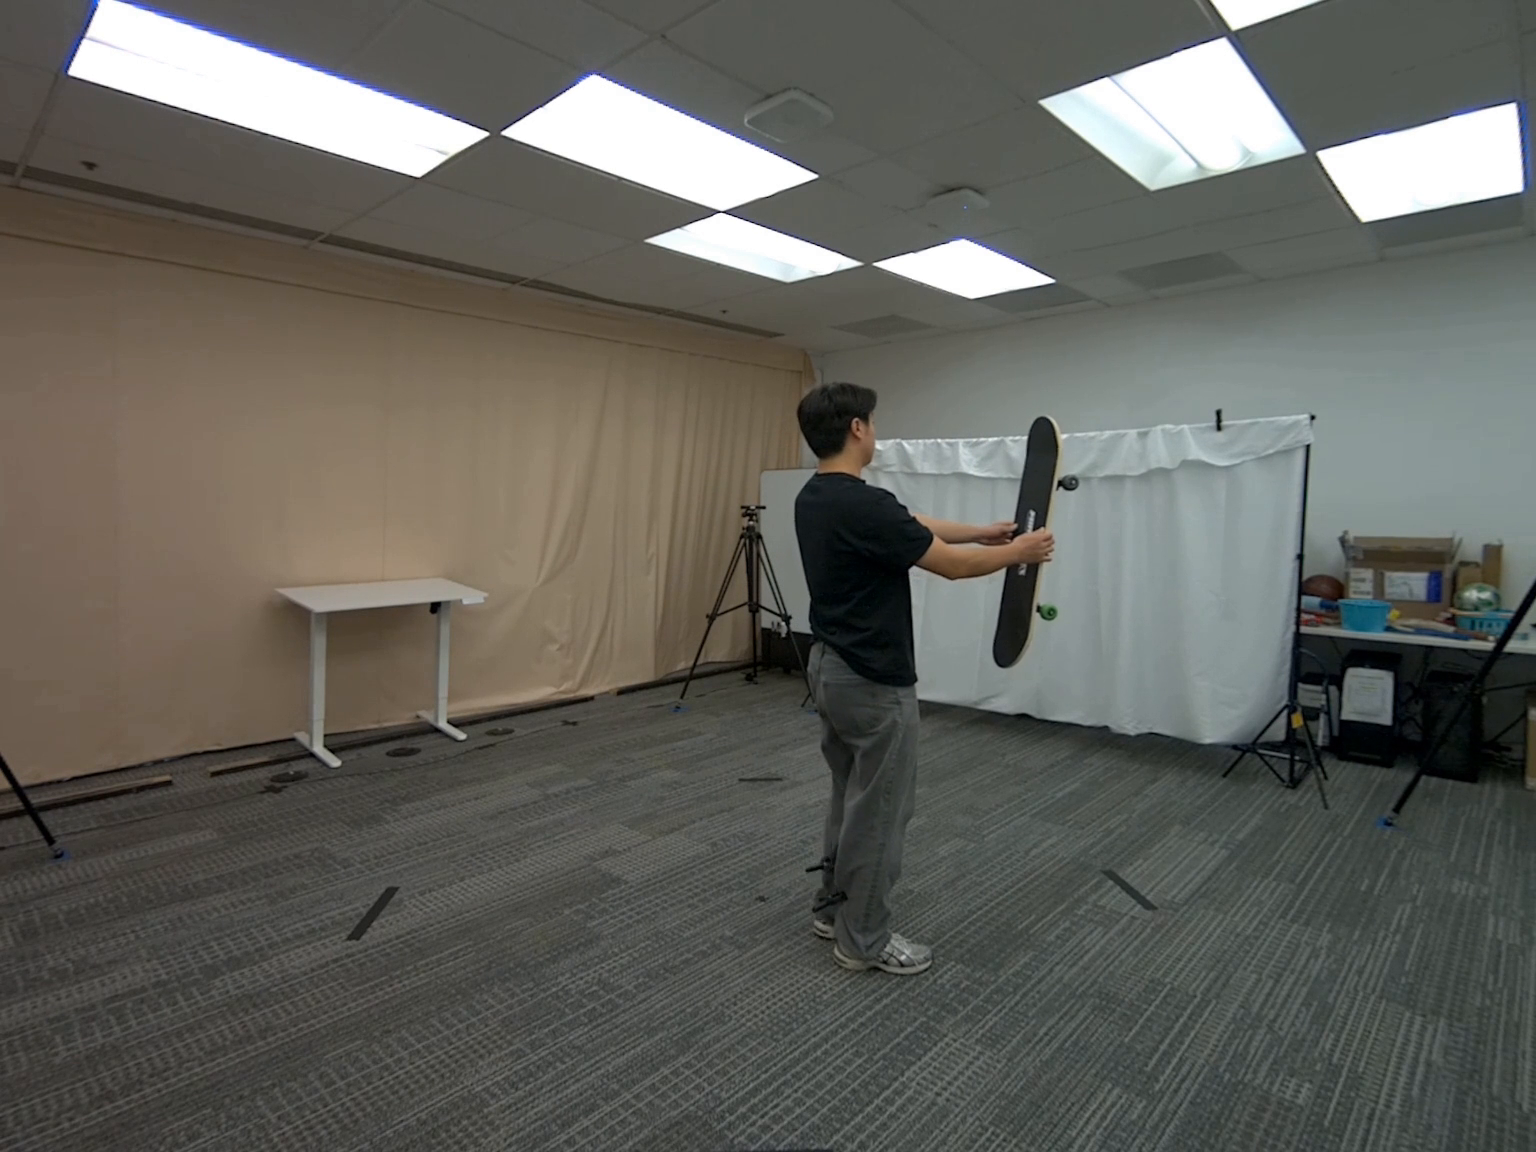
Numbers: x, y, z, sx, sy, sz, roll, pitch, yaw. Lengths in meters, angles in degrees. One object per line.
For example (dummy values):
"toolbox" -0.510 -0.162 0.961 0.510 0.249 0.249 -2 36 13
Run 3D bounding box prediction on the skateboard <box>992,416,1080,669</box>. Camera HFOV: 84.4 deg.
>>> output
"skateboard" 0.837 -0.094 2.626 0.109 0.785 0.196 9 2 -12
